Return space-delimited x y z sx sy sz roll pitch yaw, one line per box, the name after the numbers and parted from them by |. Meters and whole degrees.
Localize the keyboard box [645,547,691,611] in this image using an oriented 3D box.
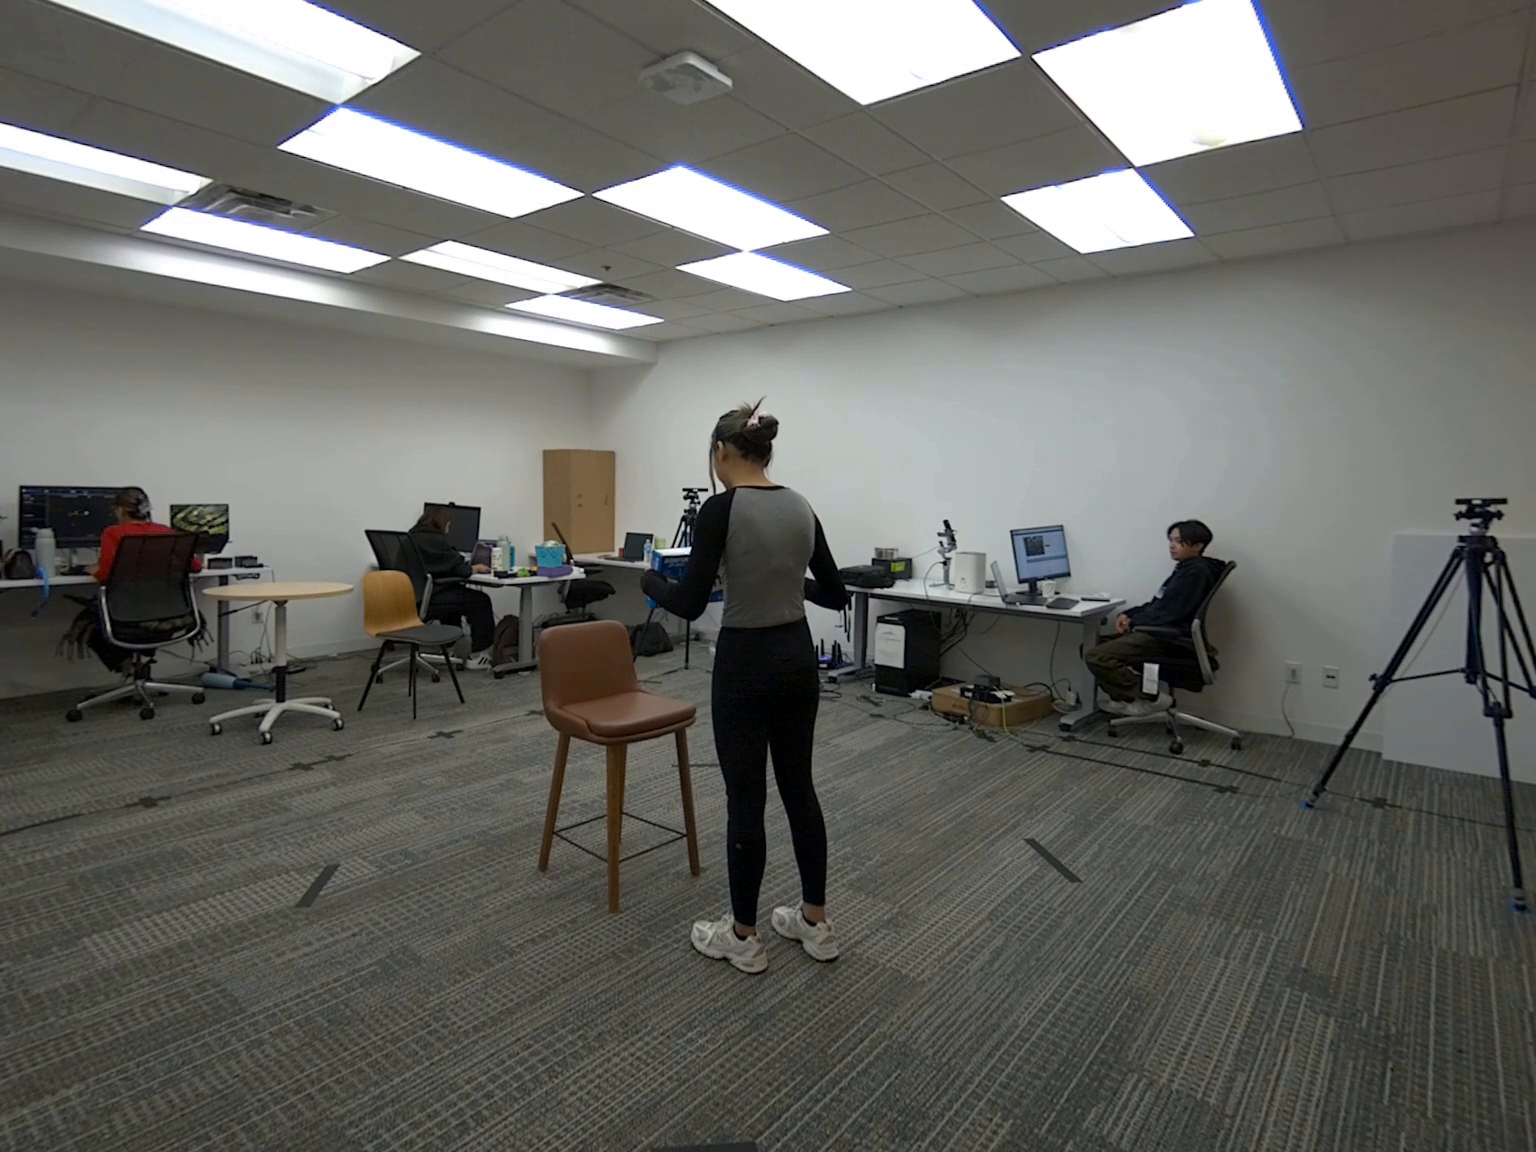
-0.201 -0.006 2.688 0.425 0.174 0.061 -5 21 -36 | keyboard box
